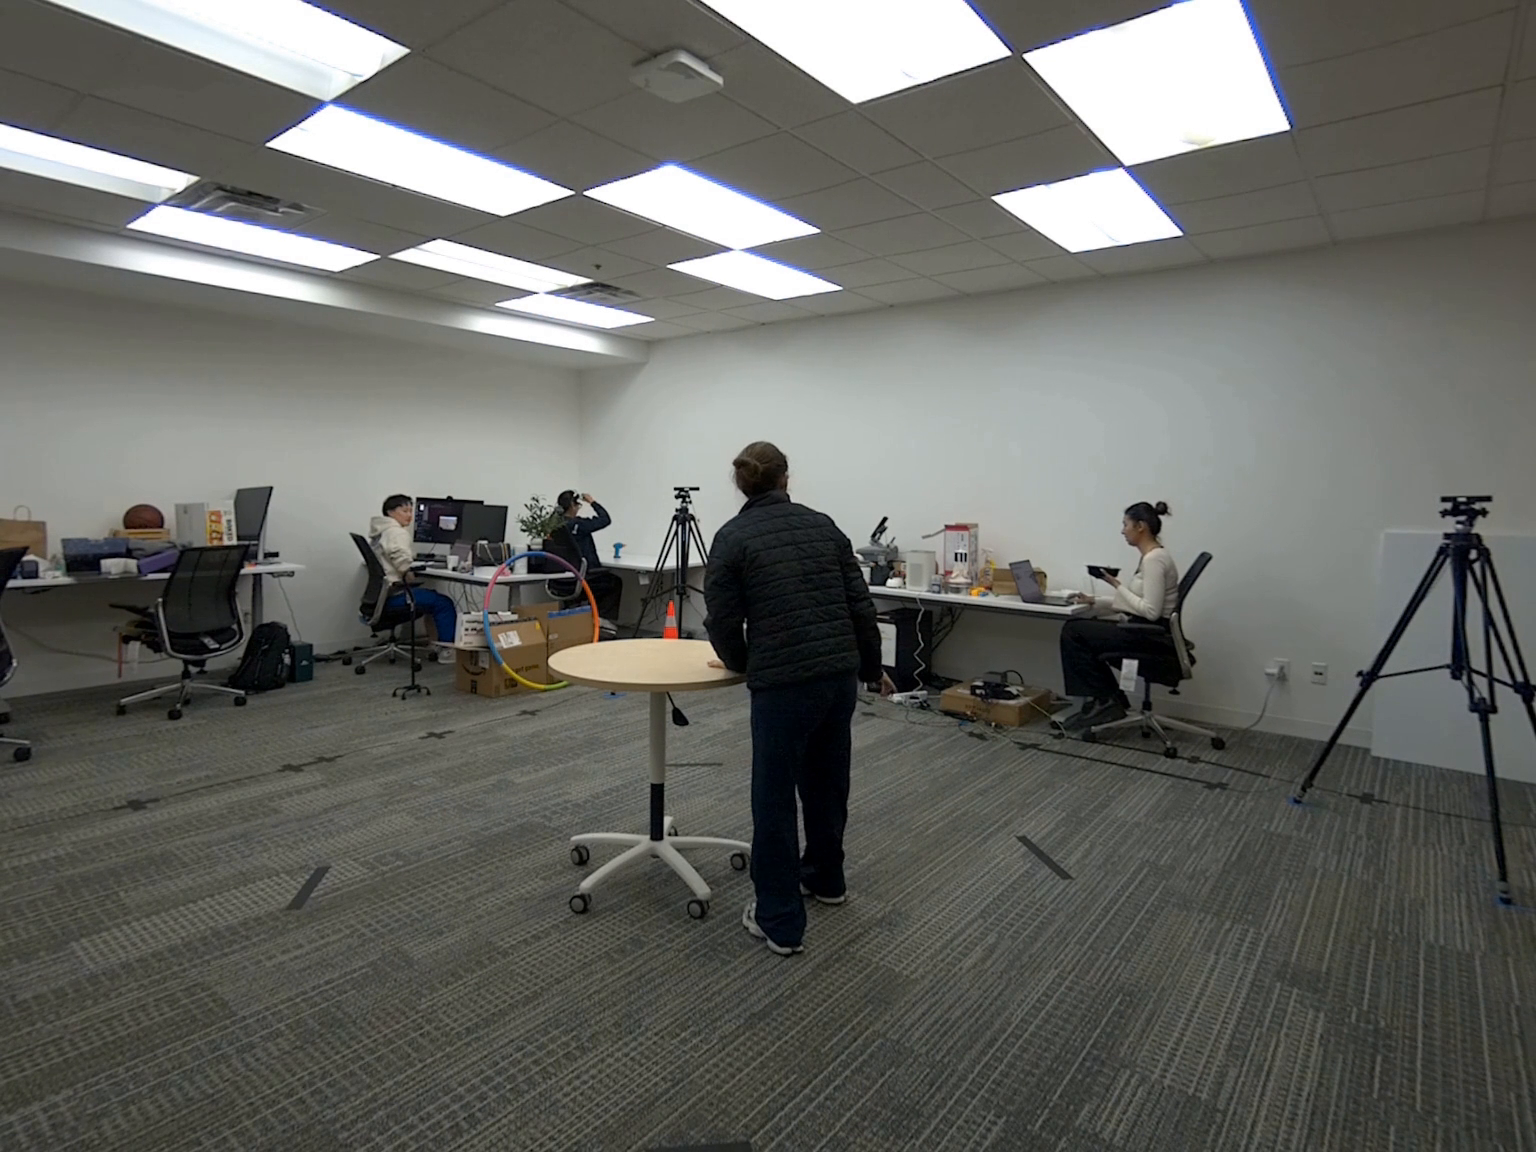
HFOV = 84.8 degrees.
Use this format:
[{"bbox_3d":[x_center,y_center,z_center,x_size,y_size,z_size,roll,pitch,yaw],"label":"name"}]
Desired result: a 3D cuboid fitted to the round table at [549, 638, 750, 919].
[{"bbox_3d":[-0.369,0.675,3.026,0.784,0.784,0.789,0,4,-2],"label":"round table"}]
